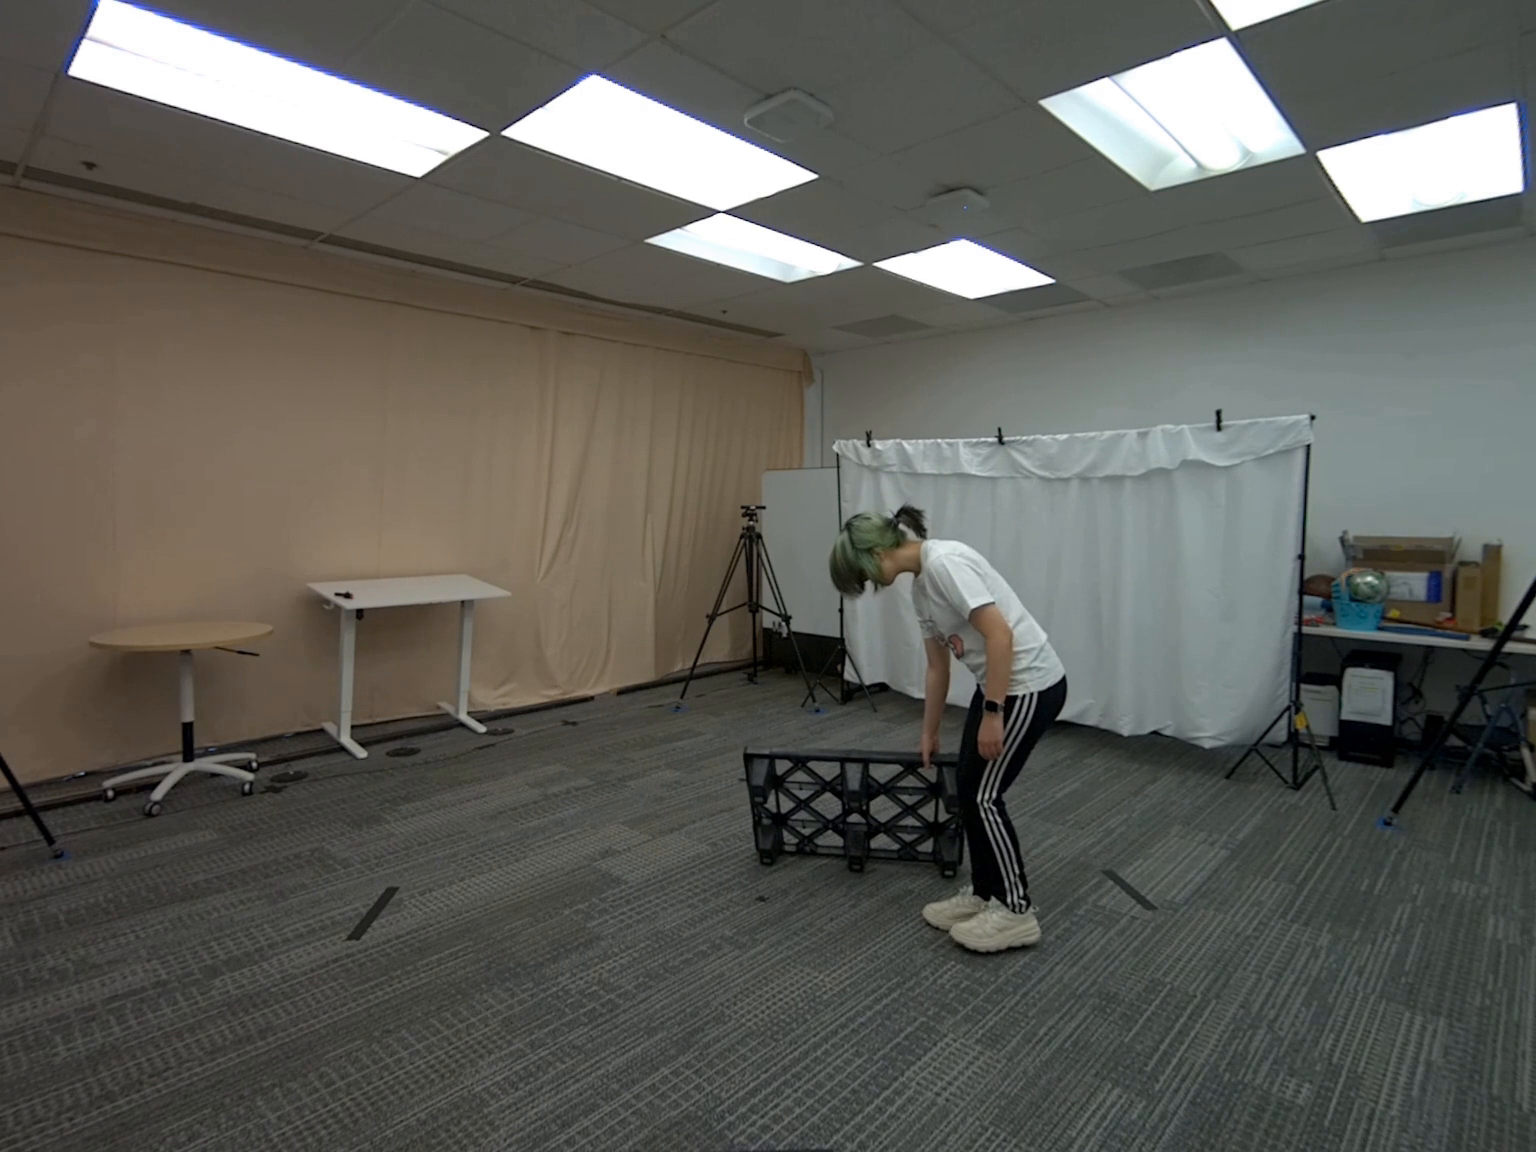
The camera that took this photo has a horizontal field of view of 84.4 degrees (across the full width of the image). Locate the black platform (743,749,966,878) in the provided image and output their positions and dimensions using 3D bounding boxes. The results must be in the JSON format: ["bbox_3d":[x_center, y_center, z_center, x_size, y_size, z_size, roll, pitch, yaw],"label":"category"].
[{"bbox_3d":[0.322,0.891,3.121,0.815,0.592,0.144,1,35,11],"label":"black platform"}]
